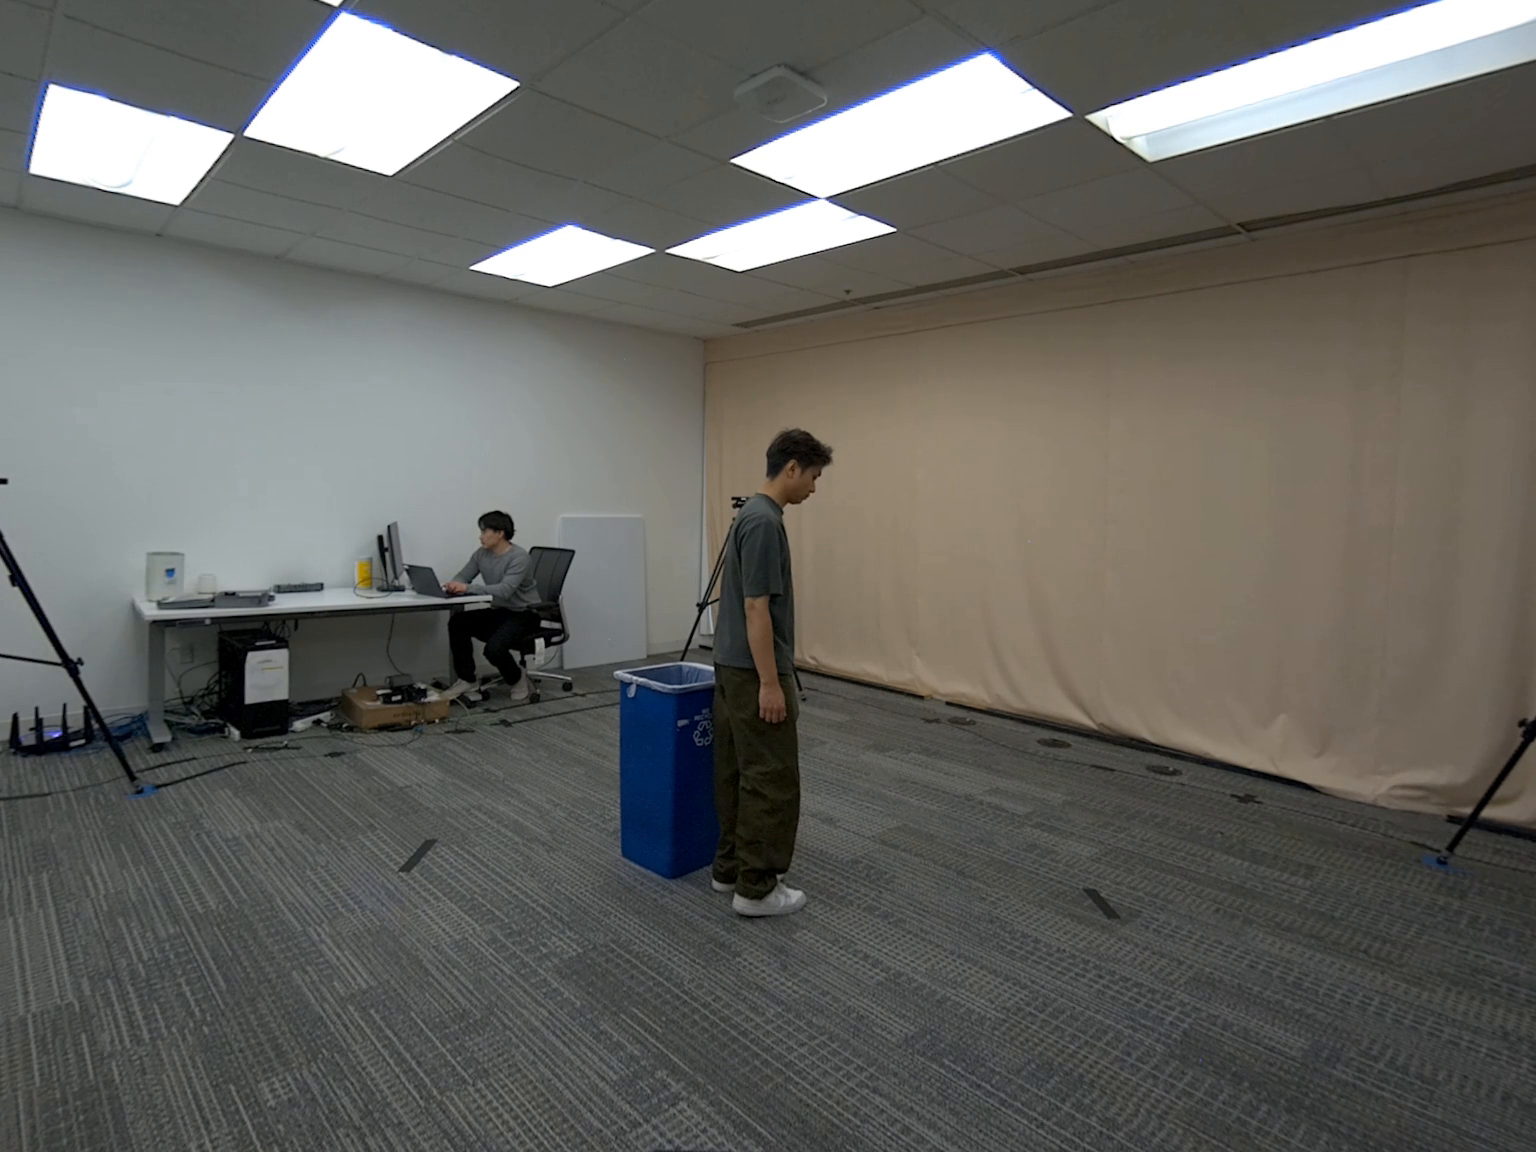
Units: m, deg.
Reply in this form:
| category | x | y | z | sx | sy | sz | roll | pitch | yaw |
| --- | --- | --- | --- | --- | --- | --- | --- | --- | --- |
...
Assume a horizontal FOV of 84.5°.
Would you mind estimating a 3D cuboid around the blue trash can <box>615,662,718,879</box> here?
| category | x | y | z | sx | sy | sz | roll | pitch | yaw |
| --- | --- | --- | --- | --- | --- | --- | --- | --- | --- |
| blue trash can | -0.358 | 0.730 | 3.262 | 0.387 | 0.712 | 0.365 | 4 | 4 | 43 |
